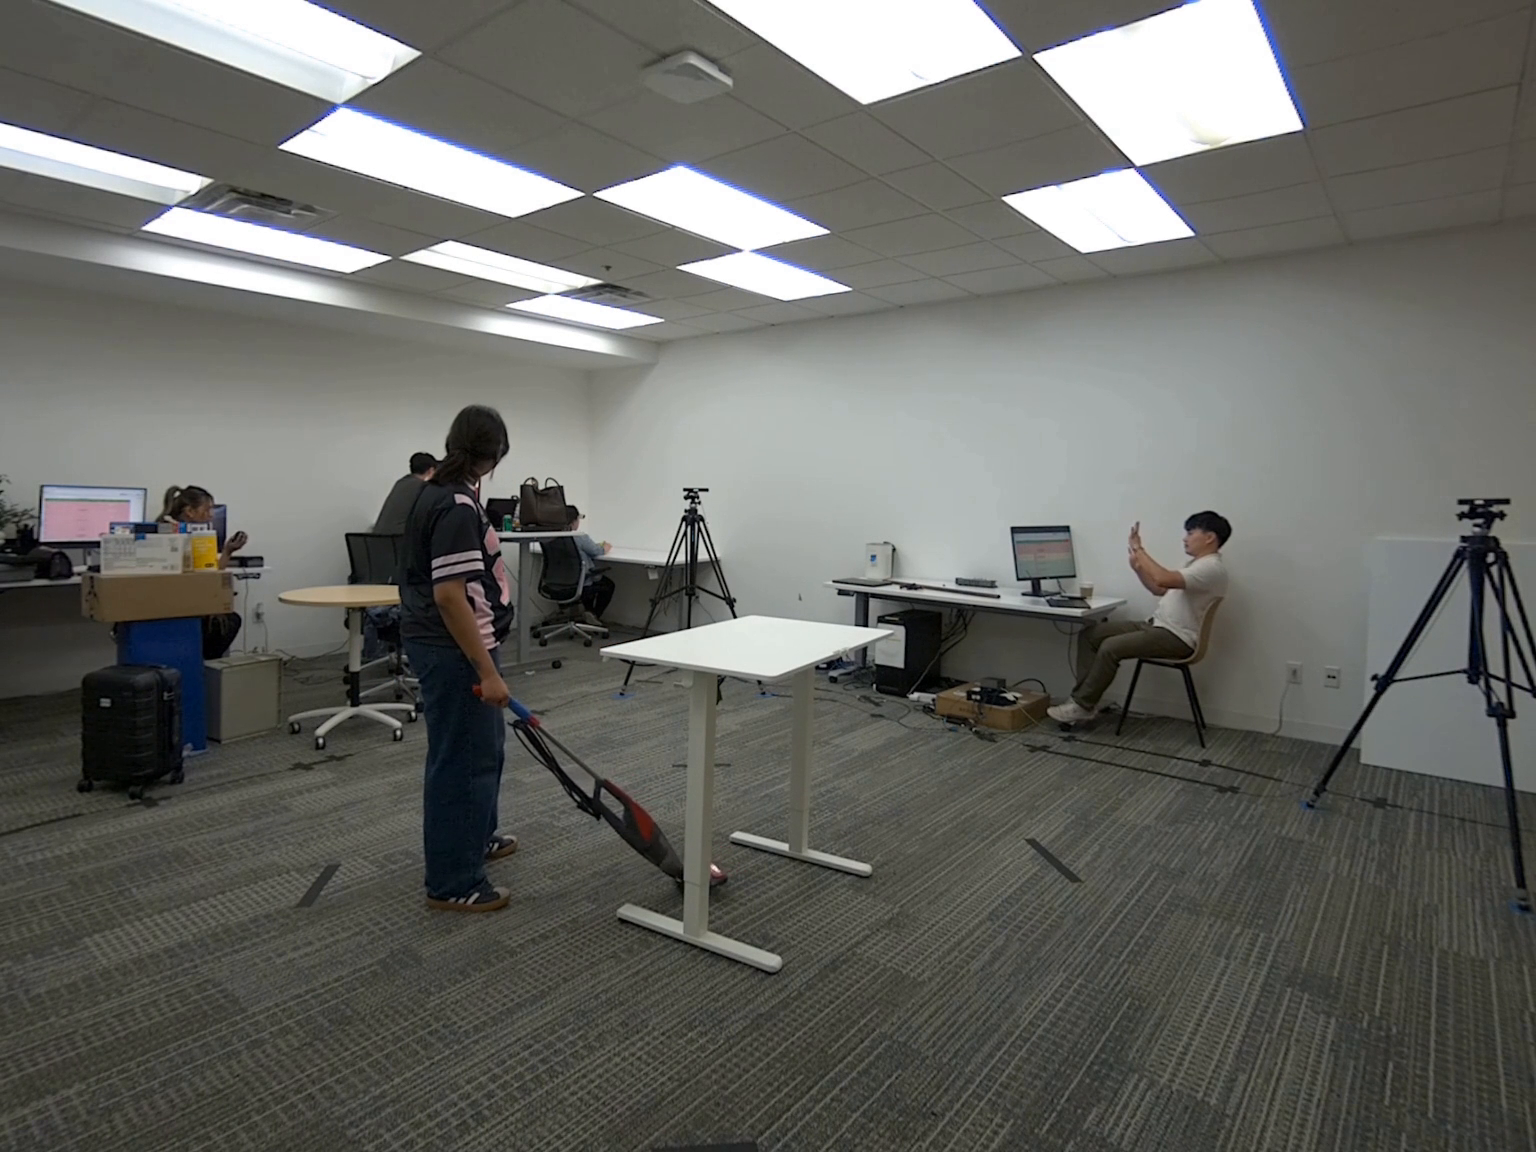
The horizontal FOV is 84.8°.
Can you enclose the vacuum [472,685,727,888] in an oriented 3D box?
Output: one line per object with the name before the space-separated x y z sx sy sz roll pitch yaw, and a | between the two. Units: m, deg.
vacuum | -0.591 0.718 2.821 1.023 0.144 0.259 44 -16 -18
